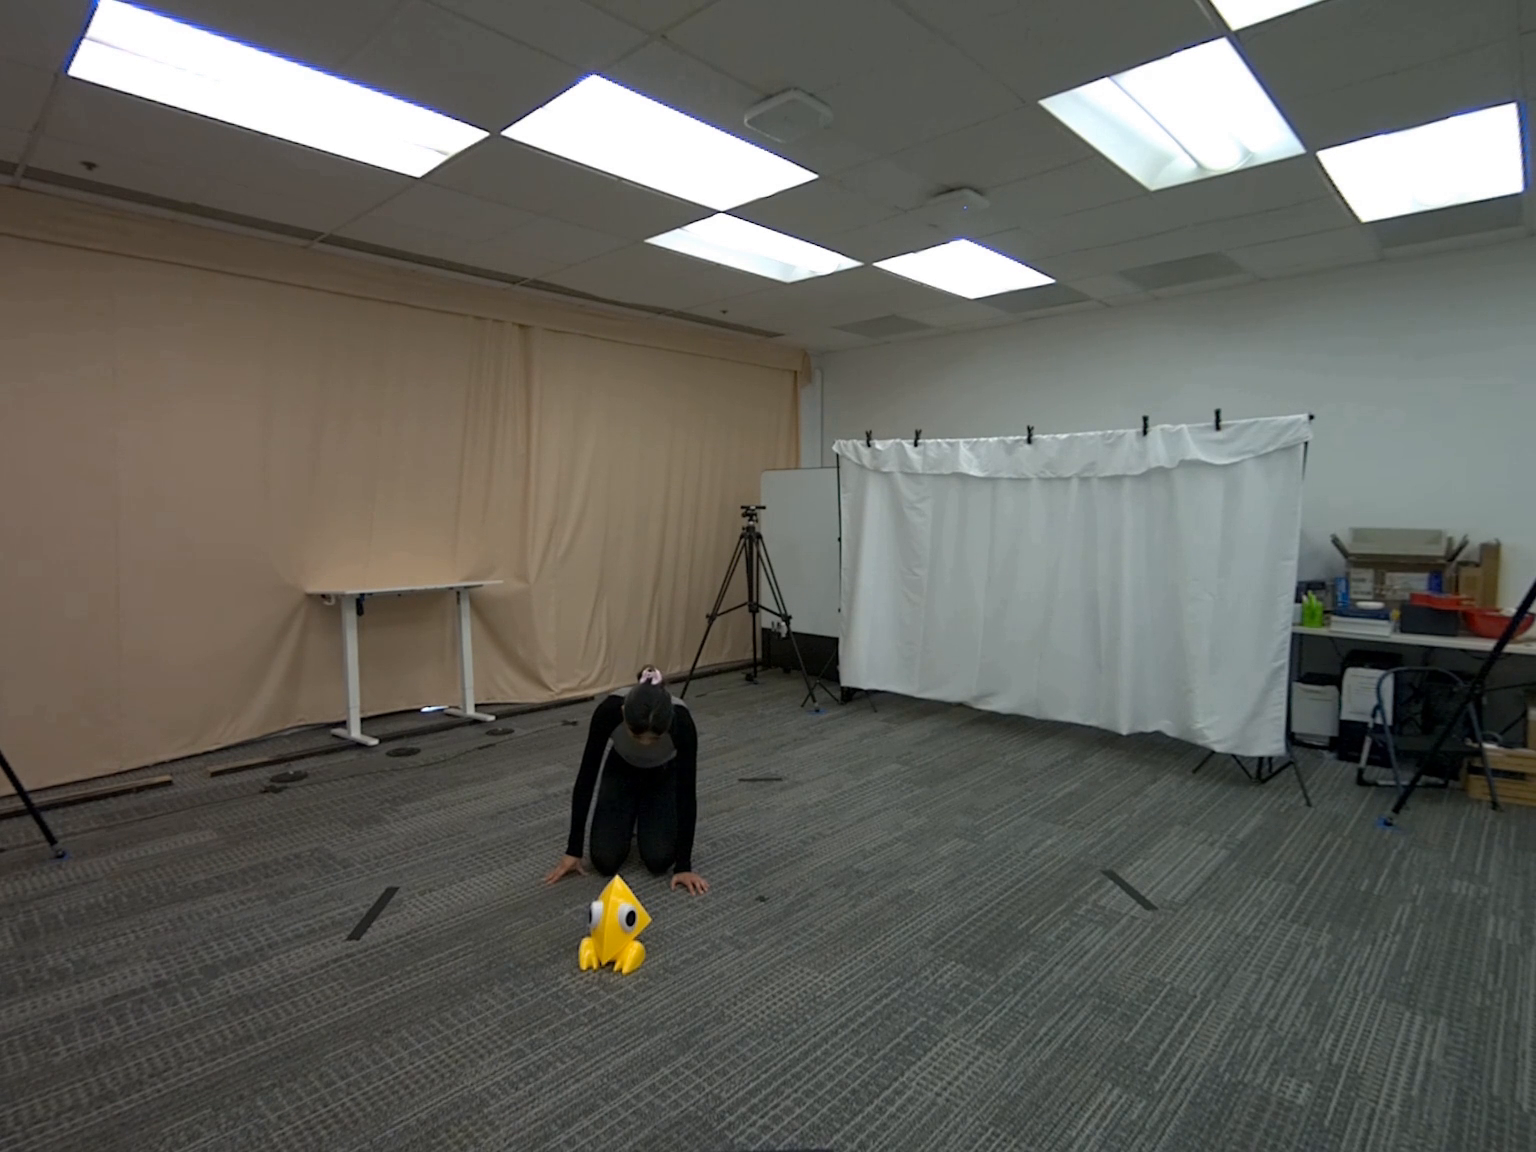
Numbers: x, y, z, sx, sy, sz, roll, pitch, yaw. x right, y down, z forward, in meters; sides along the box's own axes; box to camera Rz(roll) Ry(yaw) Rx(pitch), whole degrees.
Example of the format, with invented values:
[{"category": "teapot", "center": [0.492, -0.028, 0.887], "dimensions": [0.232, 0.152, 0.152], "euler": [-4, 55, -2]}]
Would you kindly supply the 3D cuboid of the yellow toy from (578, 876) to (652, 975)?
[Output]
[{"category": "yellow toy", "center": [-0.480, 1.061, 2.598], "dimensions": [0.207, 0.230, 0.191], "euler": [3, 2, 7]}]
